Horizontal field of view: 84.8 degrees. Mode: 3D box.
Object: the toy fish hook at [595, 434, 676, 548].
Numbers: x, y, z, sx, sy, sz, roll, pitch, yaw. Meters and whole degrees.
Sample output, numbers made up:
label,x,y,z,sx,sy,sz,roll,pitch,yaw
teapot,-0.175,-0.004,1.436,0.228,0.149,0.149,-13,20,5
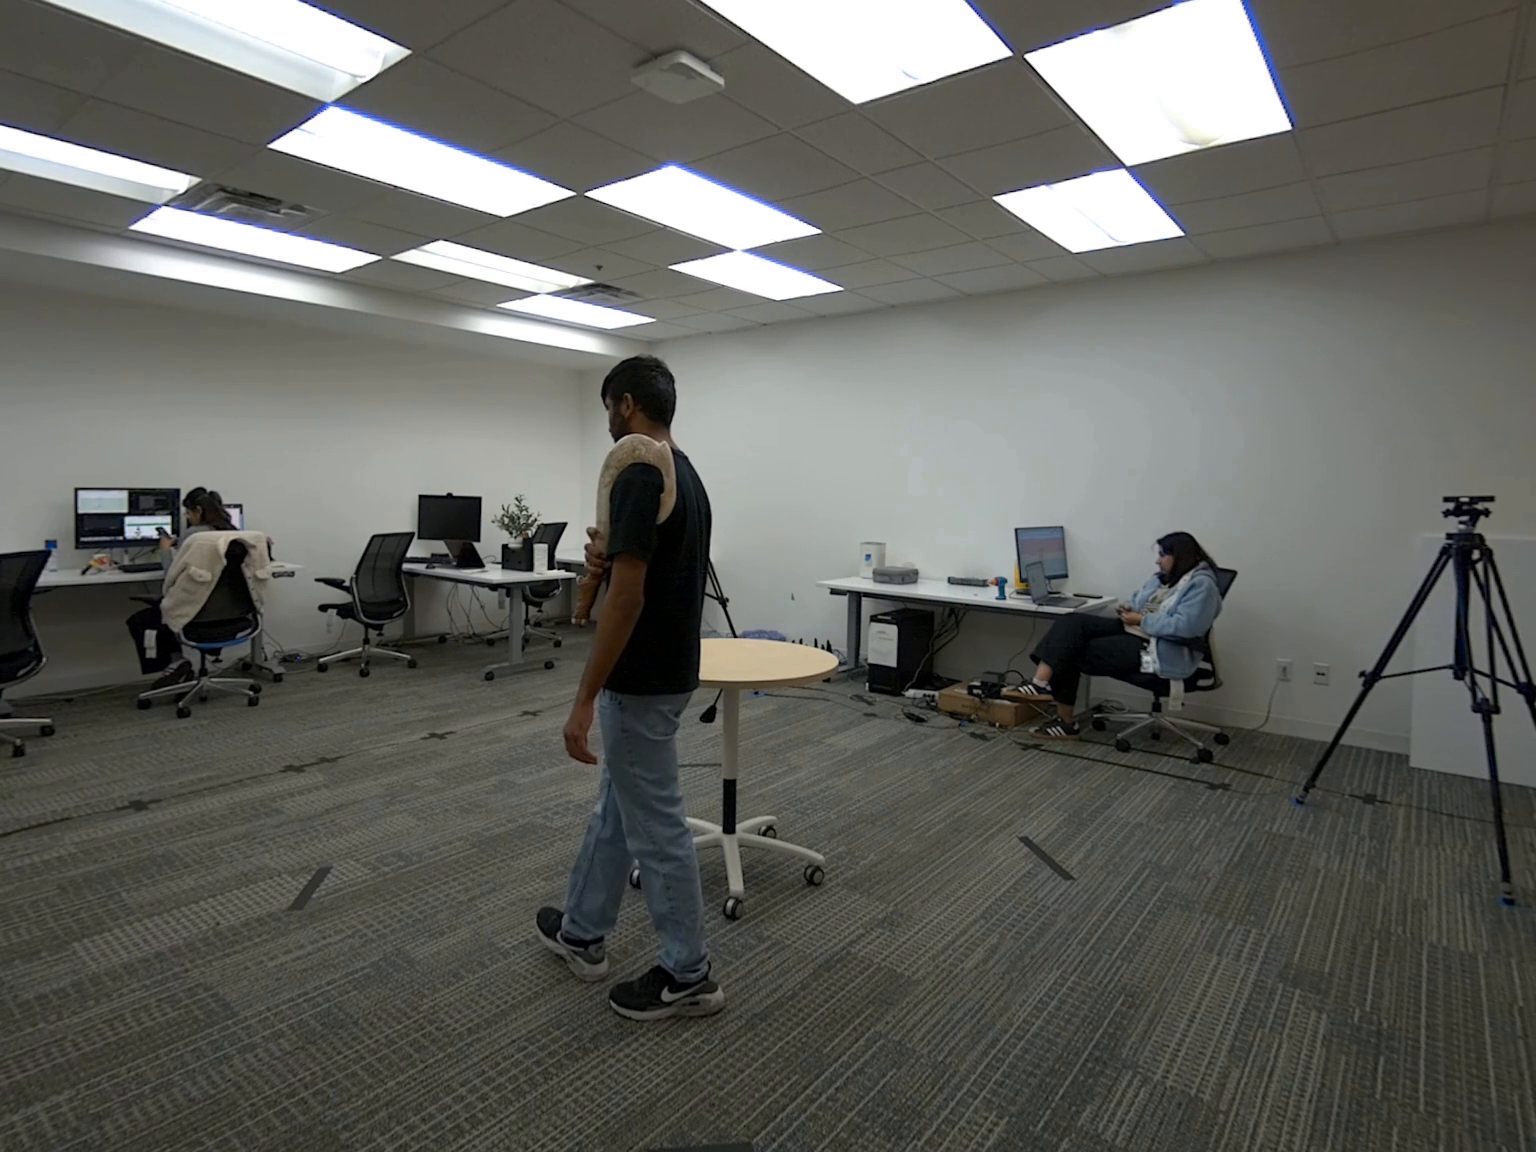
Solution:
label,x,y,z,sx,sy,sz,roll,pitch,yaw
toy fish hook,-0.368,-0.102,2.102,0.232,0.505,0.047,19,5,27
